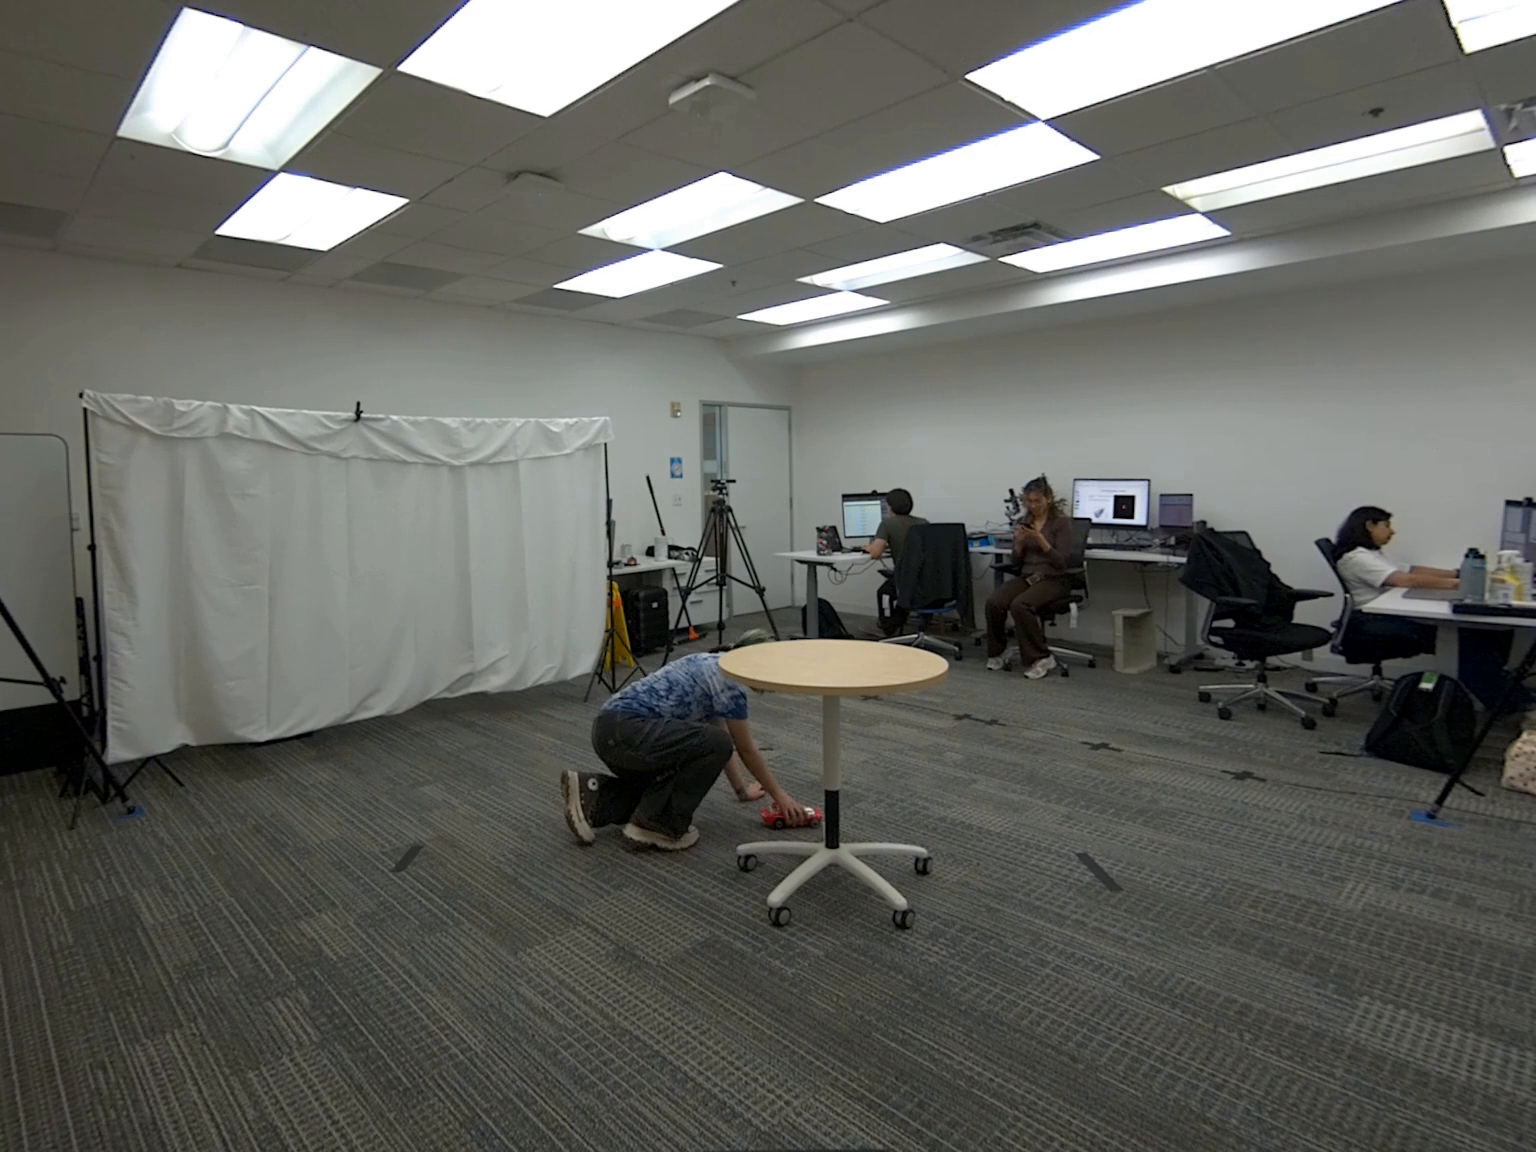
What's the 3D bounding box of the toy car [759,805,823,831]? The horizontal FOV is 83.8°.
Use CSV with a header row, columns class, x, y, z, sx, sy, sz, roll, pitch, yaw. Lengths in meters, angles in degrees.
class,x,y,z,sx,sy,sz,roll,pitch,yaw
toy car,0.083,0.970,3.463,0.253,0.083,0.131,9,5,-7
